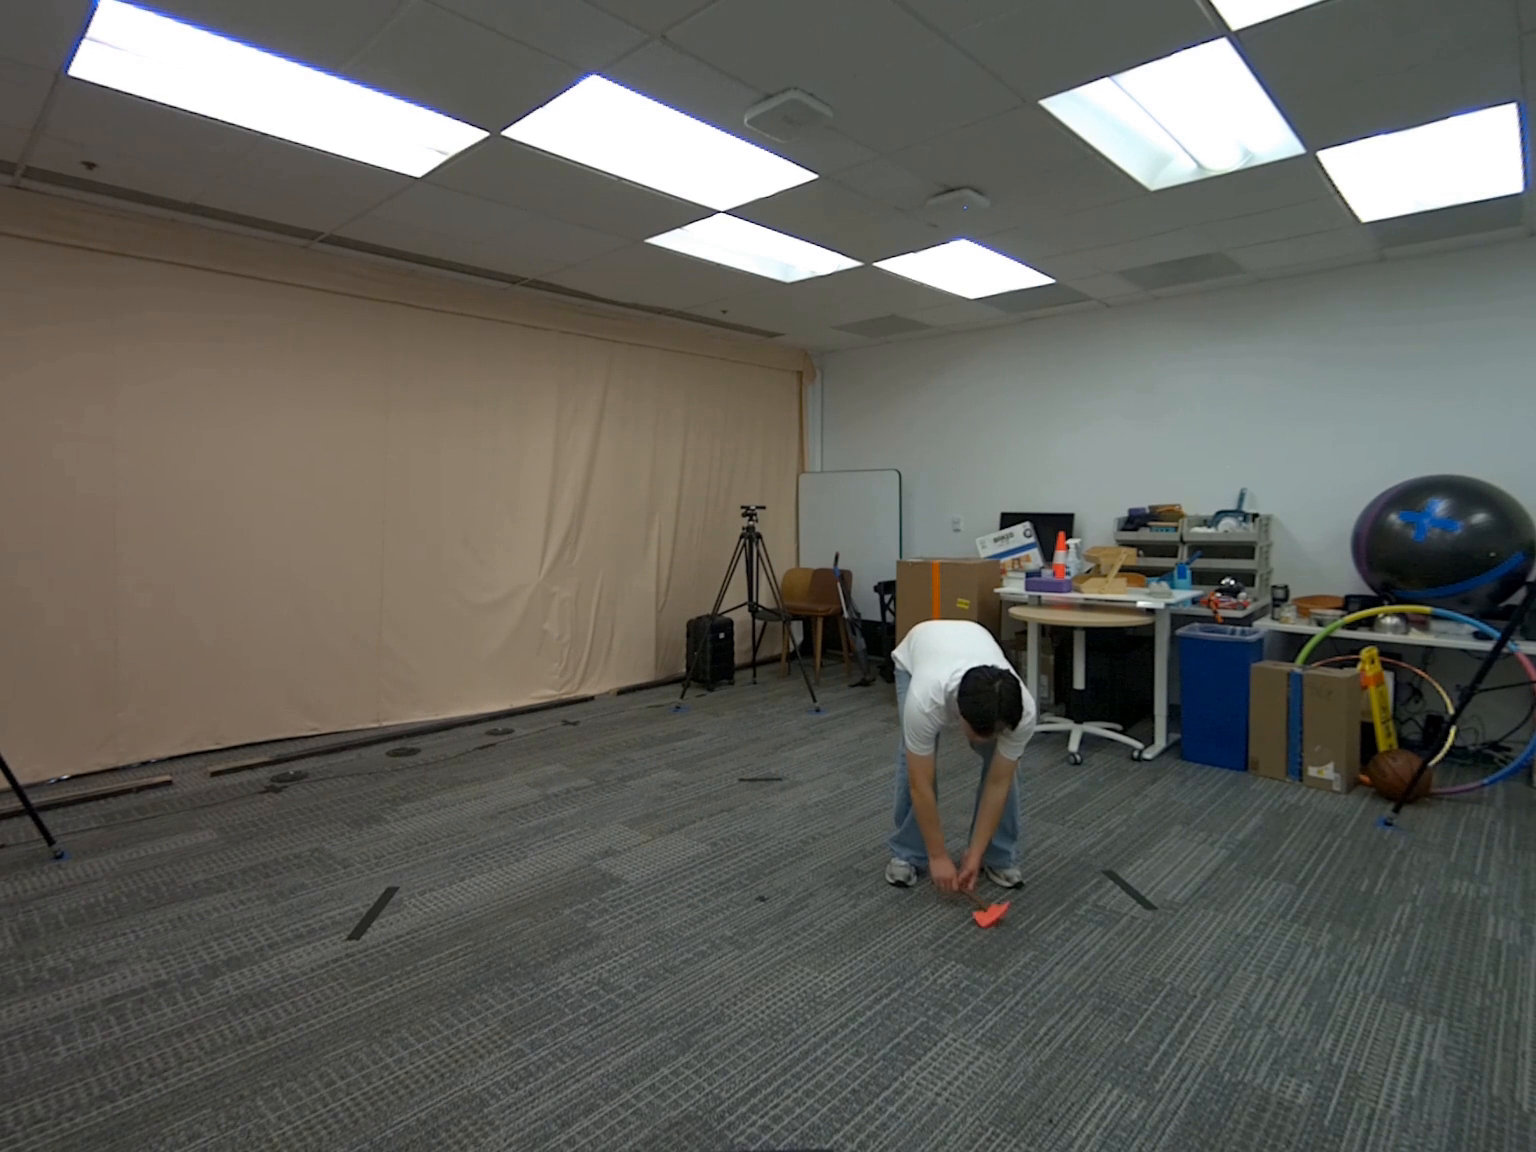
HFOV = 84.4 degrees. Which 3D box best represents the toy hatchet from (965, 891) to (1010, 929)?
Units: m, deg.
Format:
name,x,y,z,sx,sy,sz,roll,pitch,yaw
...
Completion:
name,x,y,z,sx,sy,sz,roll,pitch,yaw
toy hatchet,0.680,1.092,2.866,0.279,0.029,0.129,4,32,40
